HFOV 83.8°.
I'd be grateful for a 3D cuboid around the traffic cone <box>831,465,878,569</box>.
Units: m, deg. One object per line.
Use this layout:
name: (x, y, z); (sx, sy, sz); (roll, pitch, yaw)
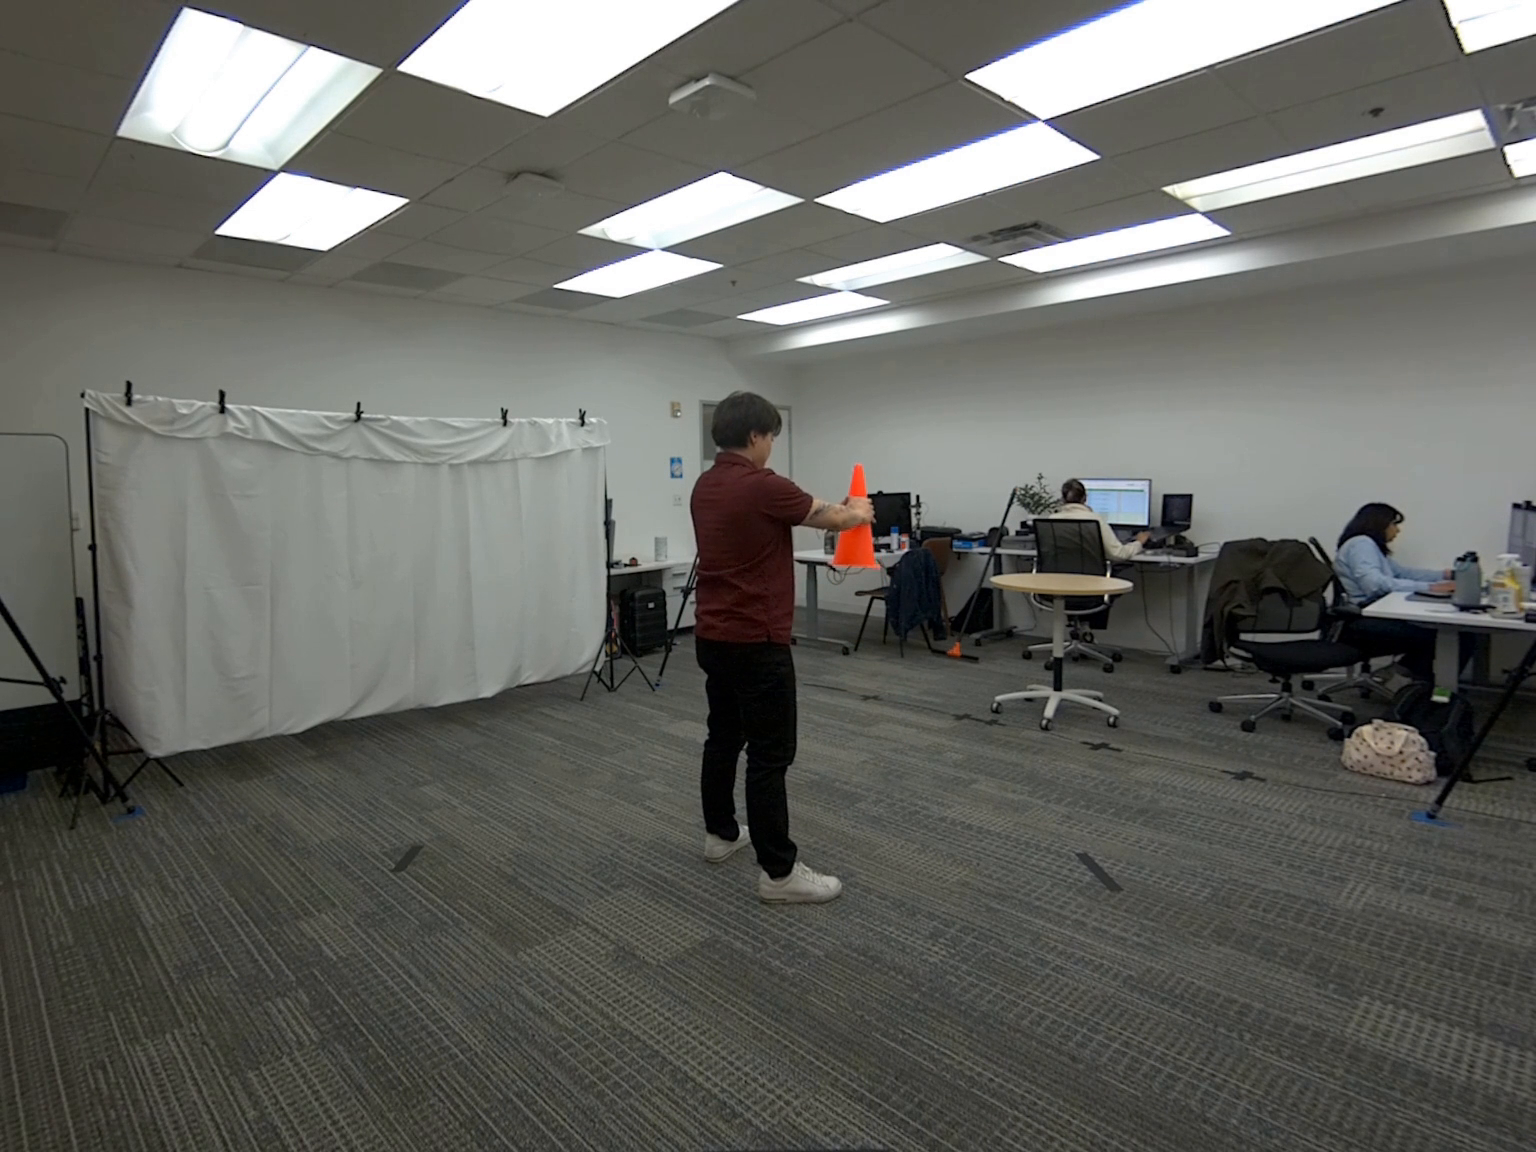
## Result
traffic cone: (0.345, -0.233, 3.256); (0.199, 0.382, 0.210); (-1, 5, -27)
